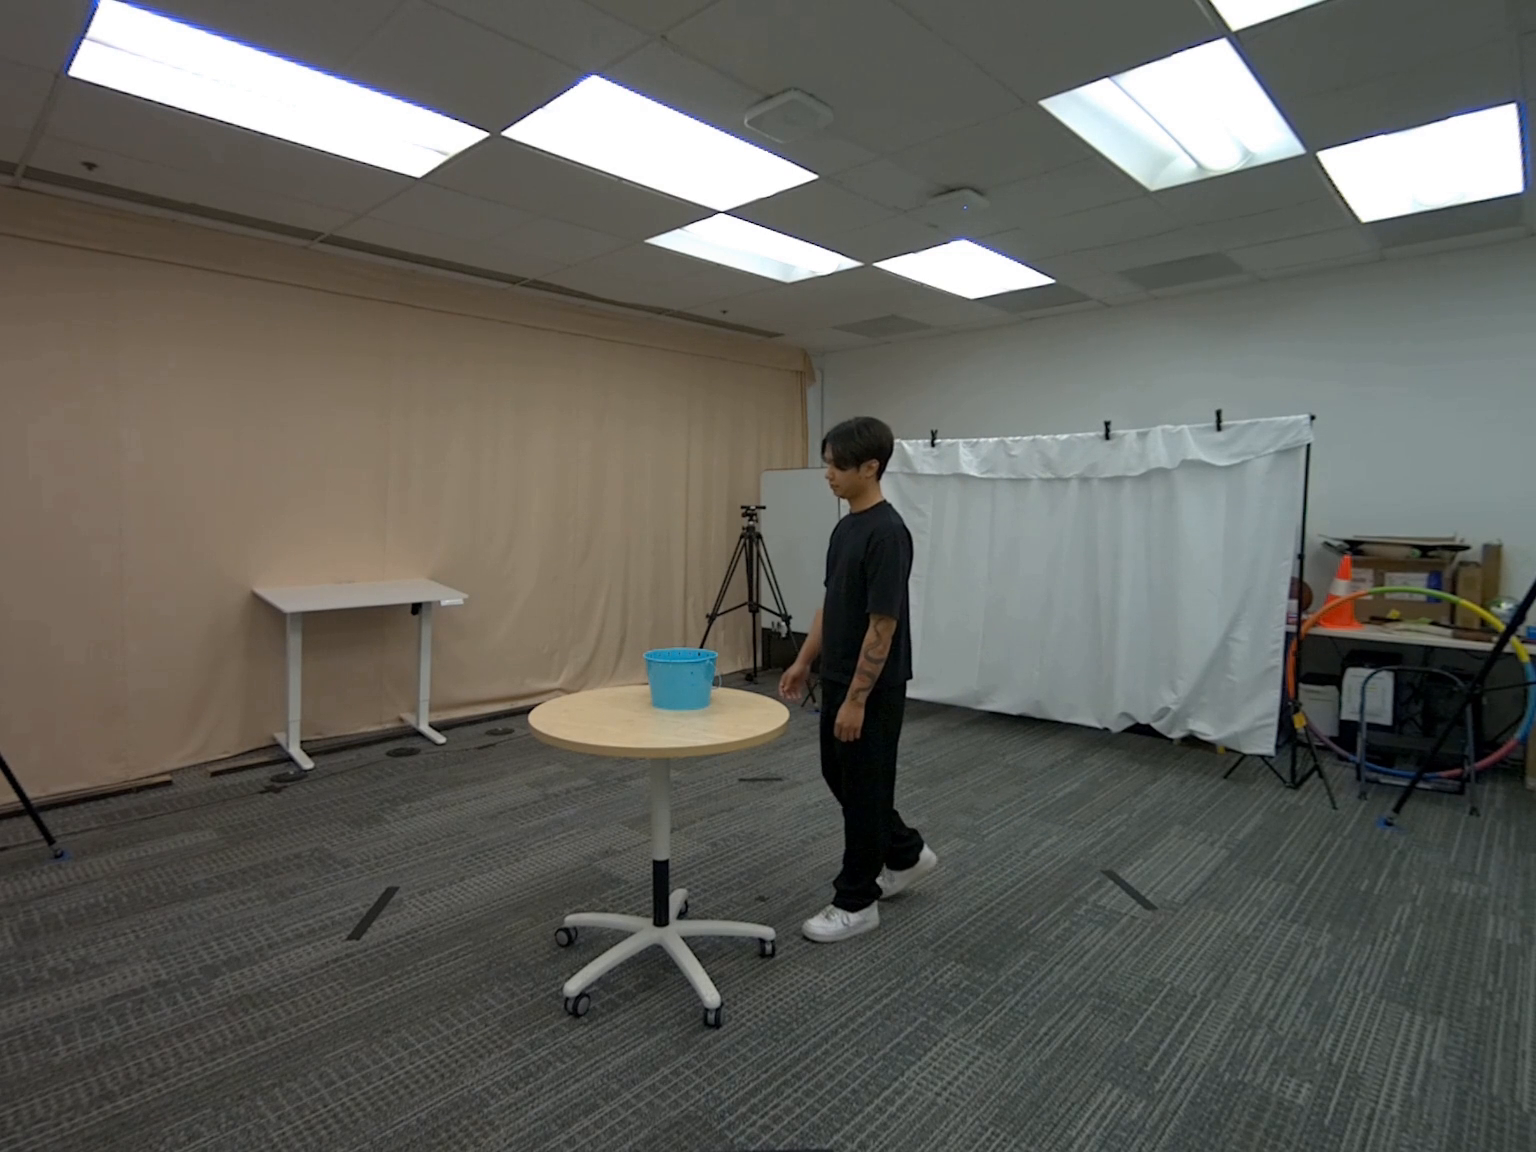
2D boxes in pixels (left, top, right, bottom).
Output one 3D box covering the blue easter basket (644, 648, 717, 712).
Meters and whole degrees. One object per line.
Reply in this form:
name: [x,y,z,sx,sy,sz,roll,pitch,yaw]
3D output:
blue easter basket: [-0.262,0.324,2.582,0.243,0.155,0.244,0,4,-2]
